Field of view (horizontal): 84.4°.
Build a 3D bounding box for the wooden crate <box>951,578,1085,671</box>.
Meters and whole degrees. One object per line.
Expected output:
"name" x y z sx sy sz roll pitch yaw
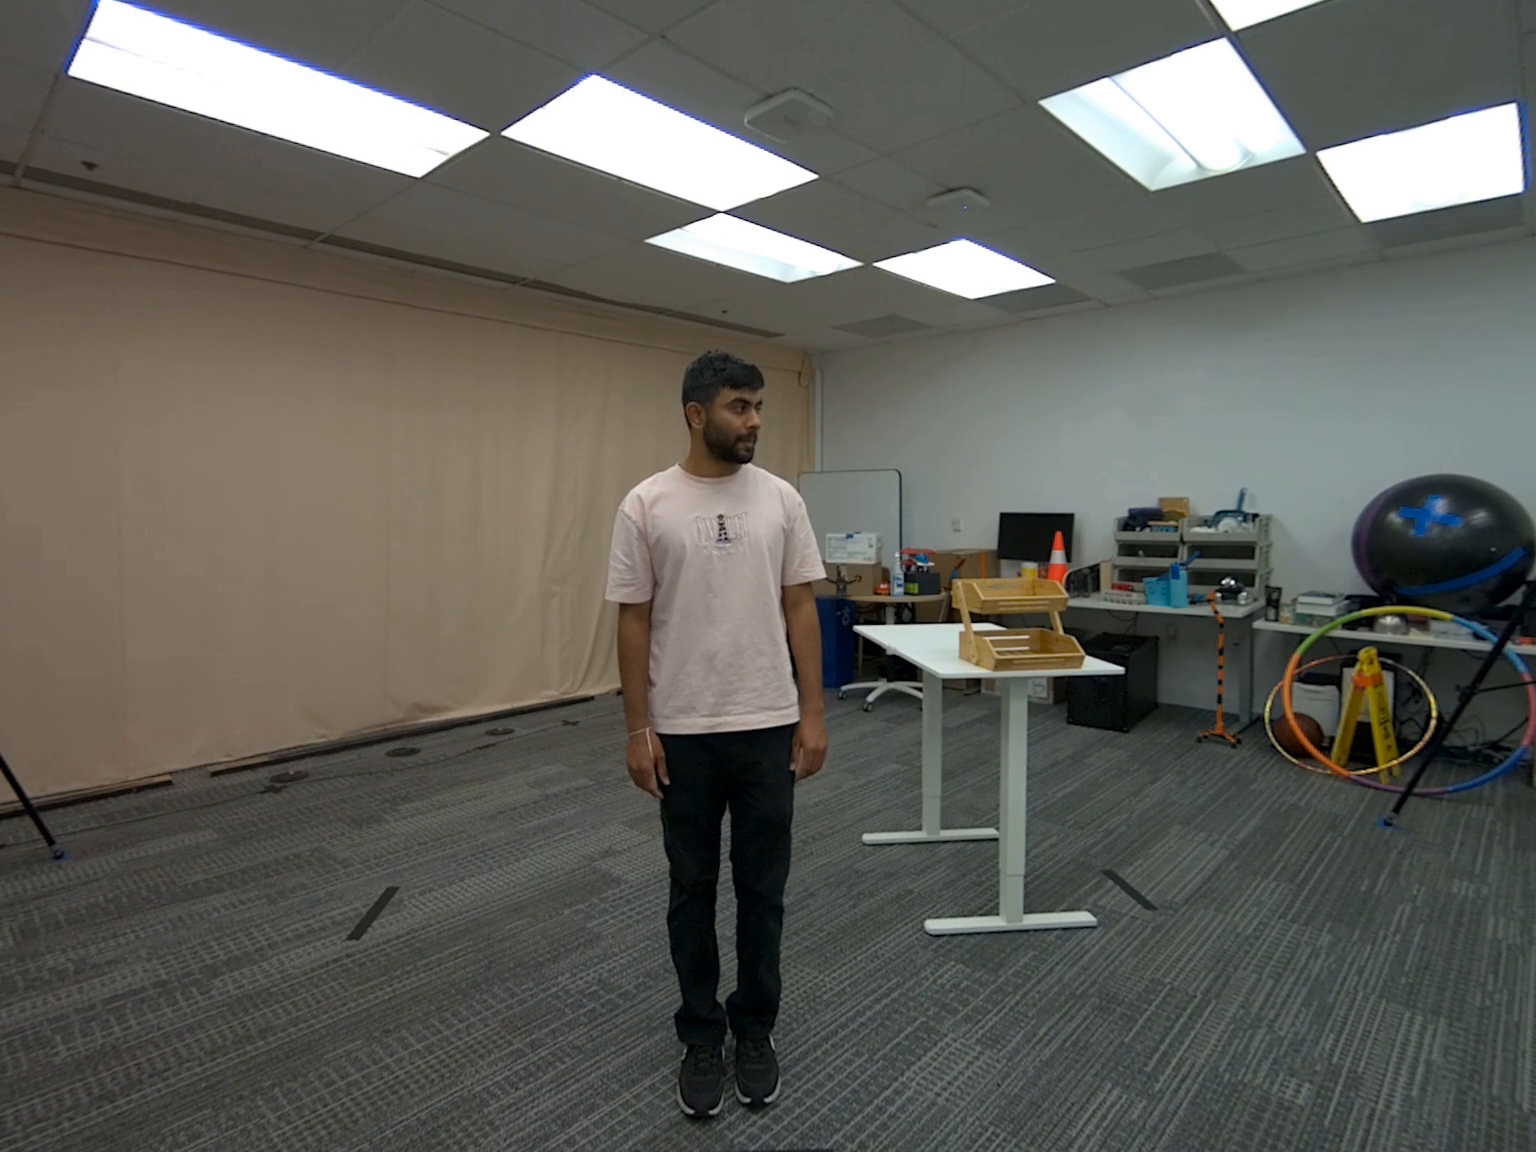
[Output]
"wooden crate" 0.822 0.154 2.722 0.321 0.272 0.306 -1 5 -11
